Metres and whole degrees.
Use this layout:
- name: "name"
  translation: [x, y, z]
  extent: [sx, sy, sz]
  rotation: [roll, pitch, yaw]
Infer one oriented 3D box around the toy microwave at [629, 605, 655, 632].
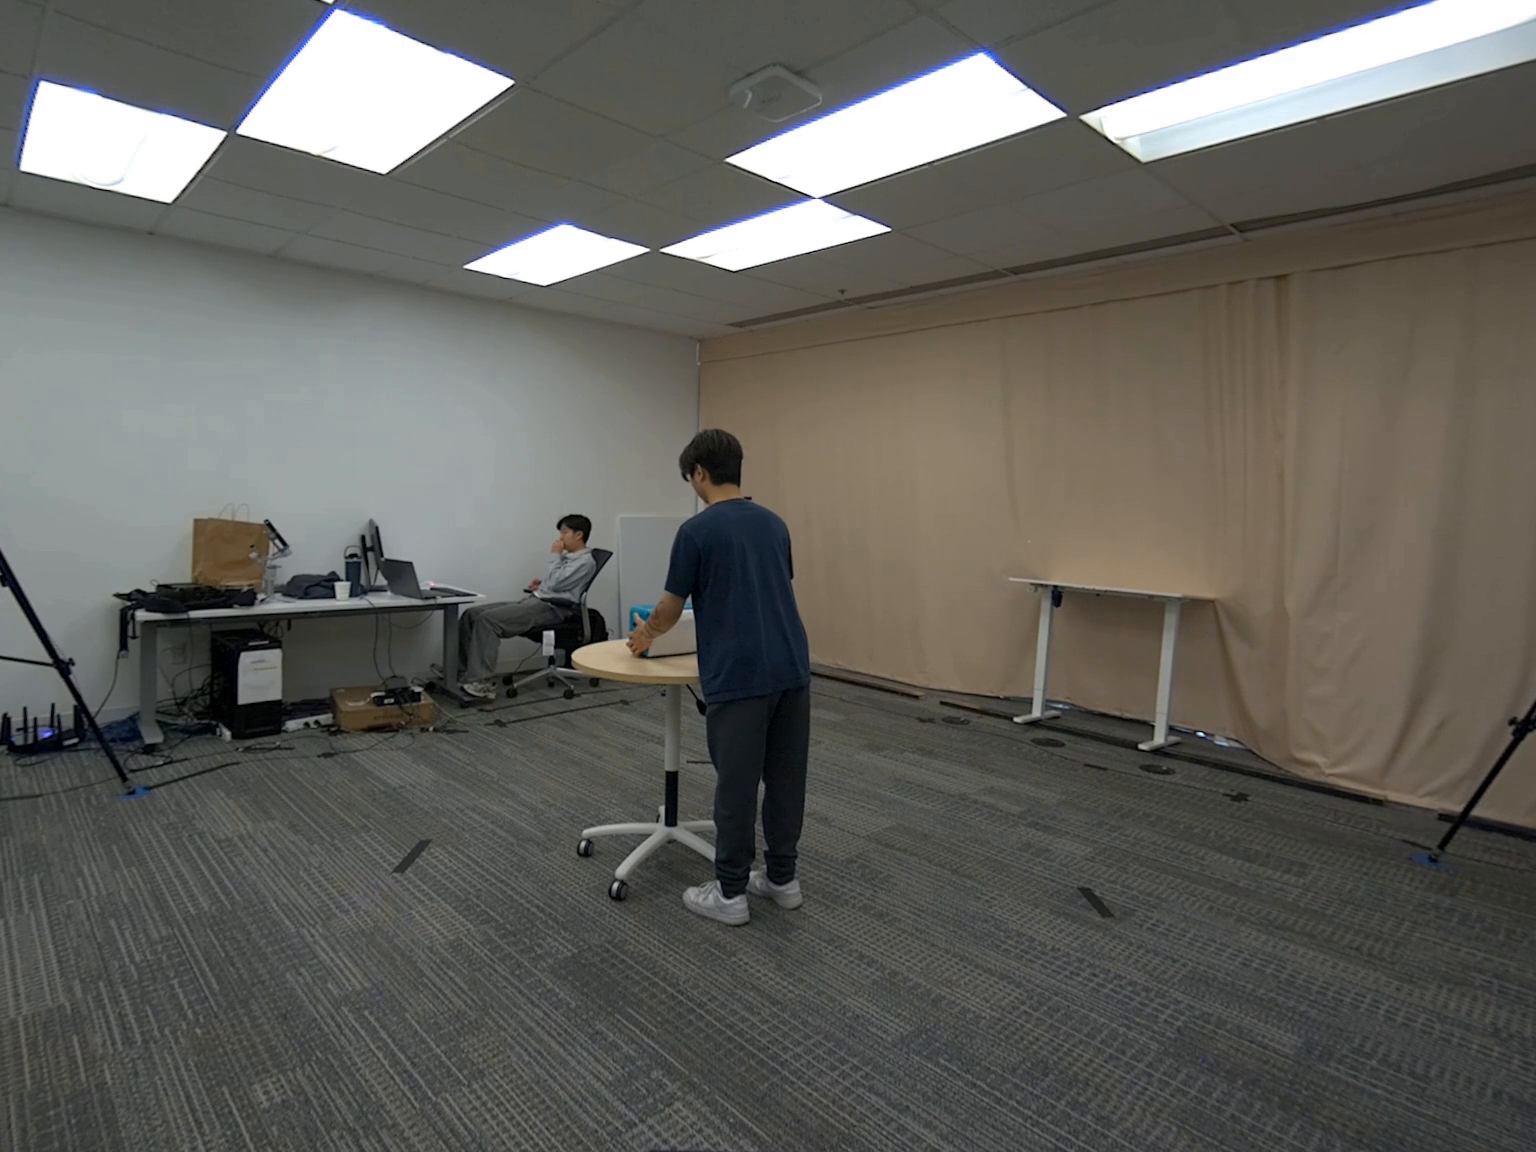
- name: "toy microwave"
  translation: [-0.383, 0.210, 3.193]
  extent: [0.280, 0.183, 0.156]
  rotation: [-2, 6, -38]
